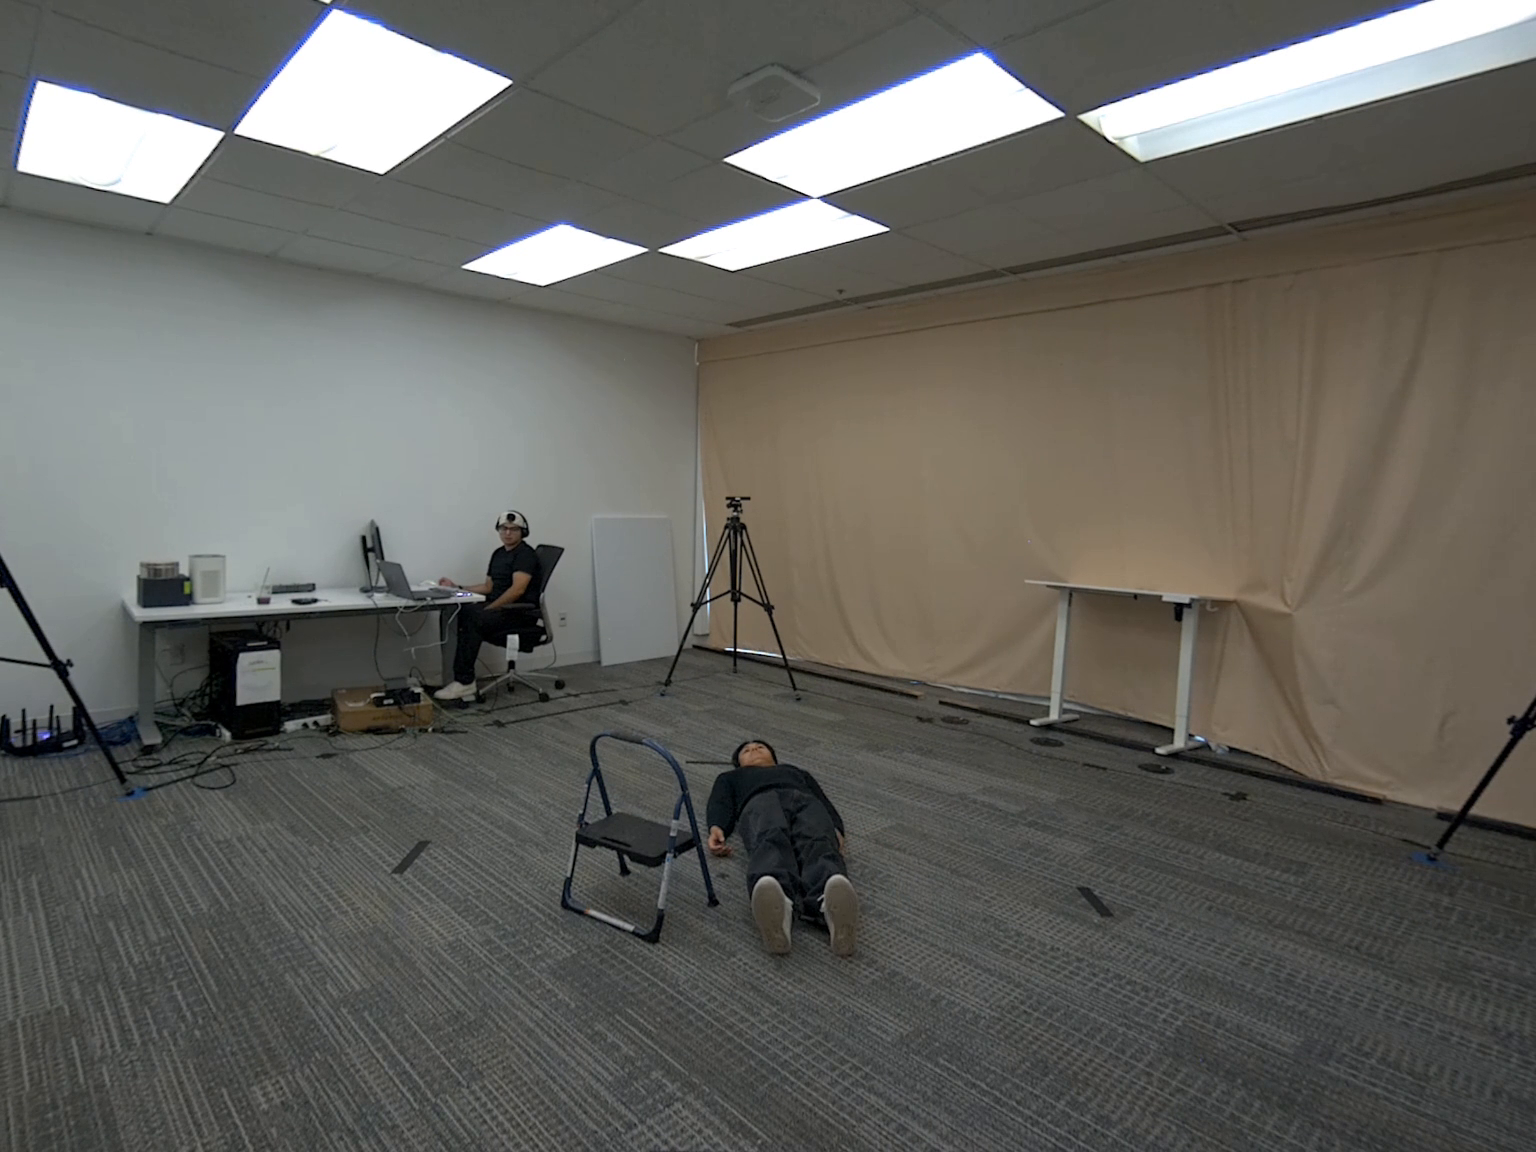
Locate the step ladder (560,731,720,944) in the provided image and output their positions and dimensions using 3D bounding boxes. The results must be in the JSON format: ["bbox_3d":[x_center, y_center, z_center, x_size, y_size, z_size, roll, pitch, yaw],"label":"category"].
[{"bbox_3d":[-0.437,0.820,2.849,0.440,0.605,0.342,3,4,32],"label":"step ladder"}]
